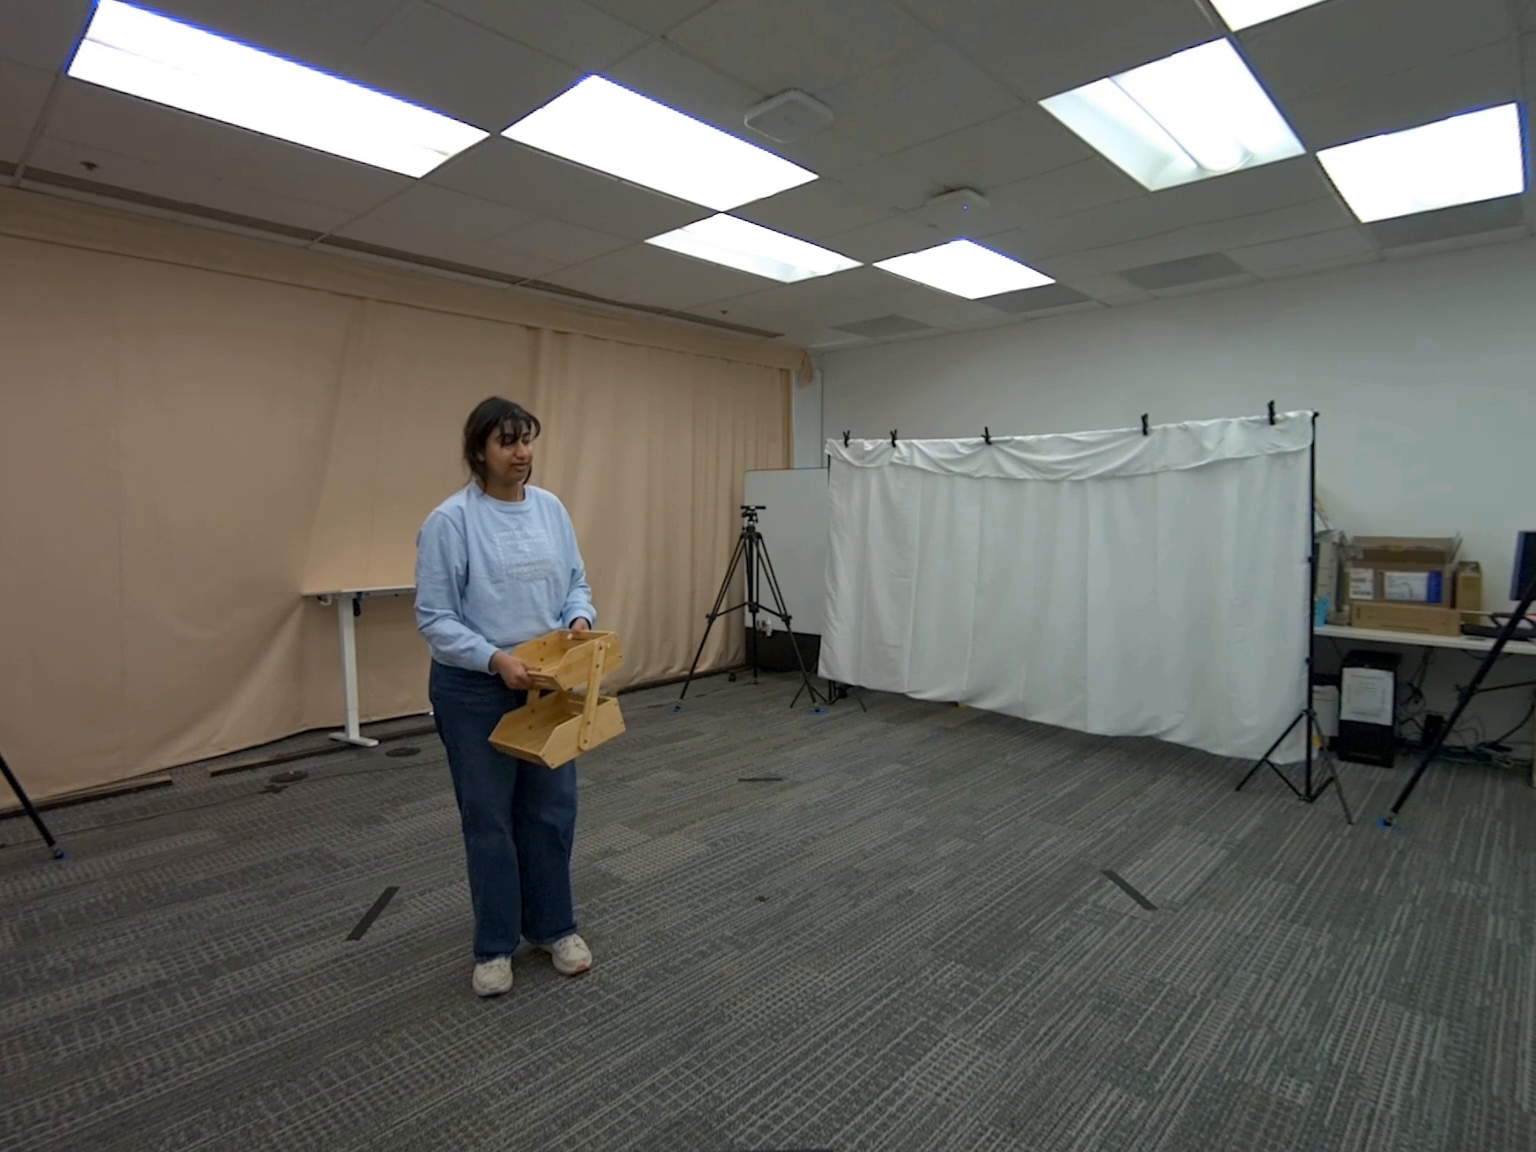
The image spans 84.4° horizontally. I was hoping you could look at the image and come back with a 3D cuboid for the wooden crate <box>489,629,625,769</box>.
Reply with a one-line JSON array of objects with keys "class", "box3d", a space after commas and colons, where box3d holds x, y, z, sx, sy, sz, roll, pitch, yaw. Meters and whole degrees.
[{"class": "wooden crate", "box3d": [-0.580, 0.319, 2.250, 0.295, 0.271, 0.334, -22, 13, -41]}]
